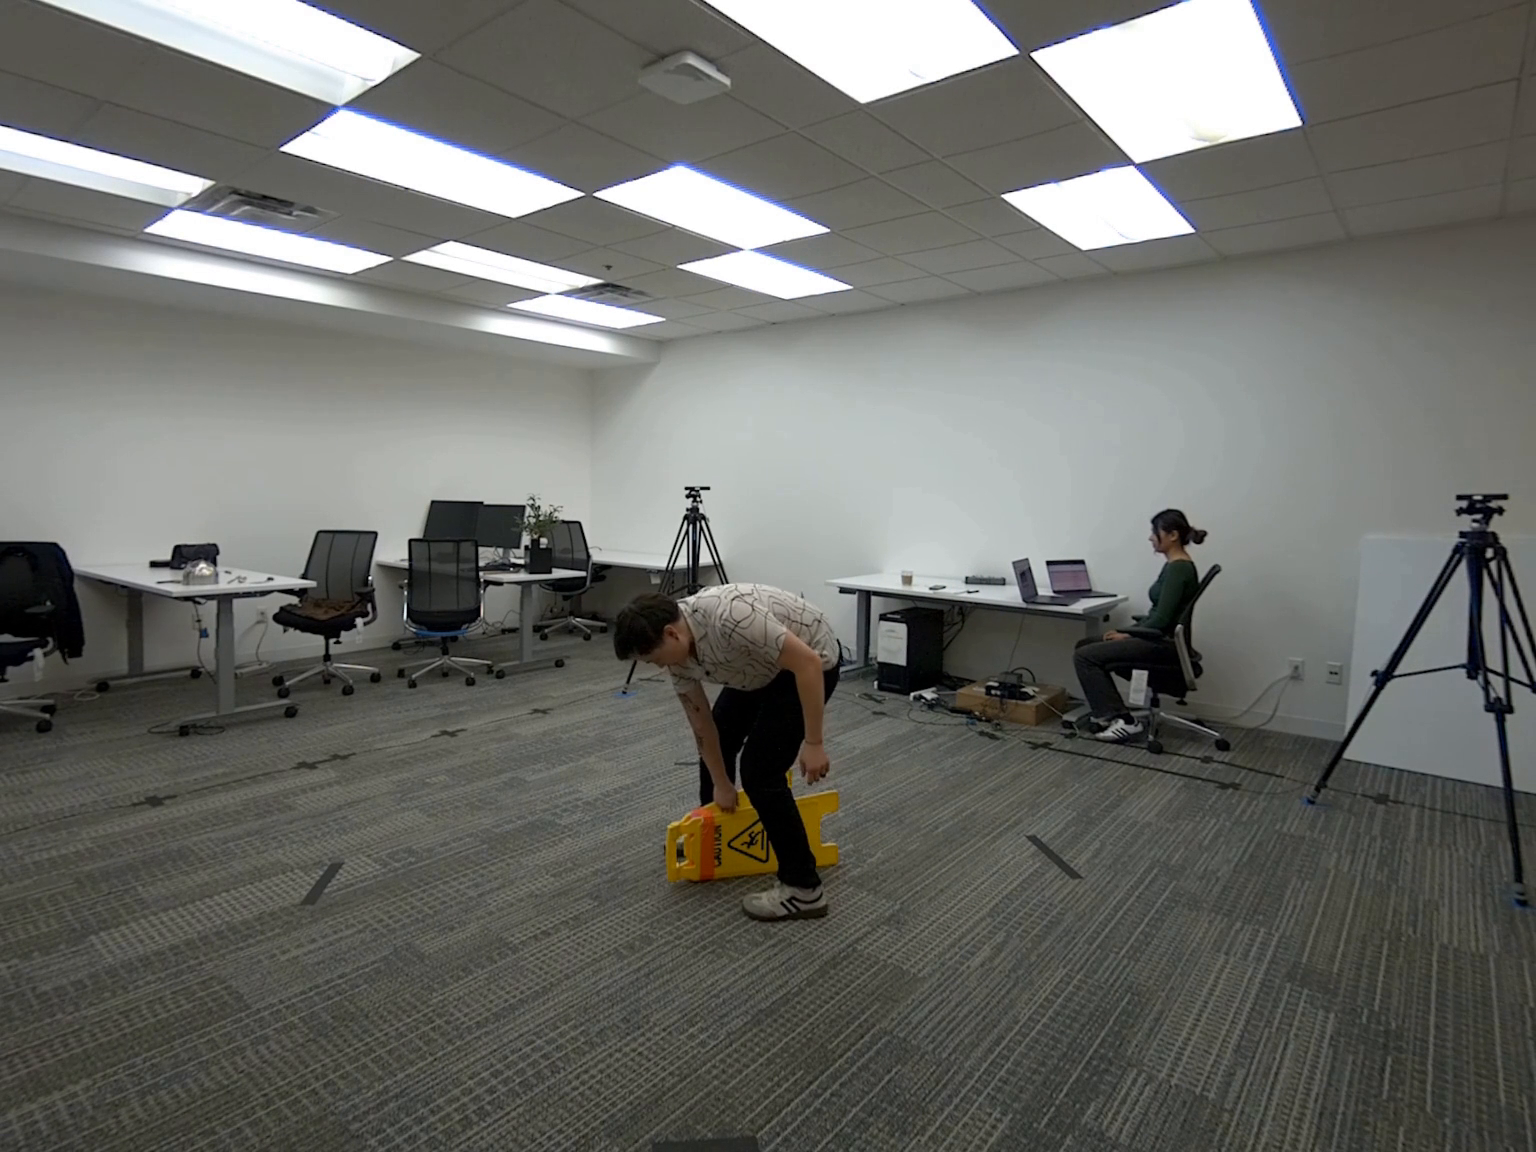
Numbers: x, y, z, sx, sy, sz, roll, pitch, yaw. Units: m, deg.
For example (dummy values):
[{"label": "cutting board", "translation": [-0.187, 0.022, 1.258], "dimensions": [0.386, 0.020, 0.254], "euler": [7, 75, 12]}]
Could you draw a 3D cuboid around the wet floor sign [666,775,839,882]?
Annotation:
[{"label": "wet floor sign", "translation": [-0.092, 0.935, 3.109], "dimensions": [0.629, 0.281, 0.299], "euler": [-5, 7, -33]}]
